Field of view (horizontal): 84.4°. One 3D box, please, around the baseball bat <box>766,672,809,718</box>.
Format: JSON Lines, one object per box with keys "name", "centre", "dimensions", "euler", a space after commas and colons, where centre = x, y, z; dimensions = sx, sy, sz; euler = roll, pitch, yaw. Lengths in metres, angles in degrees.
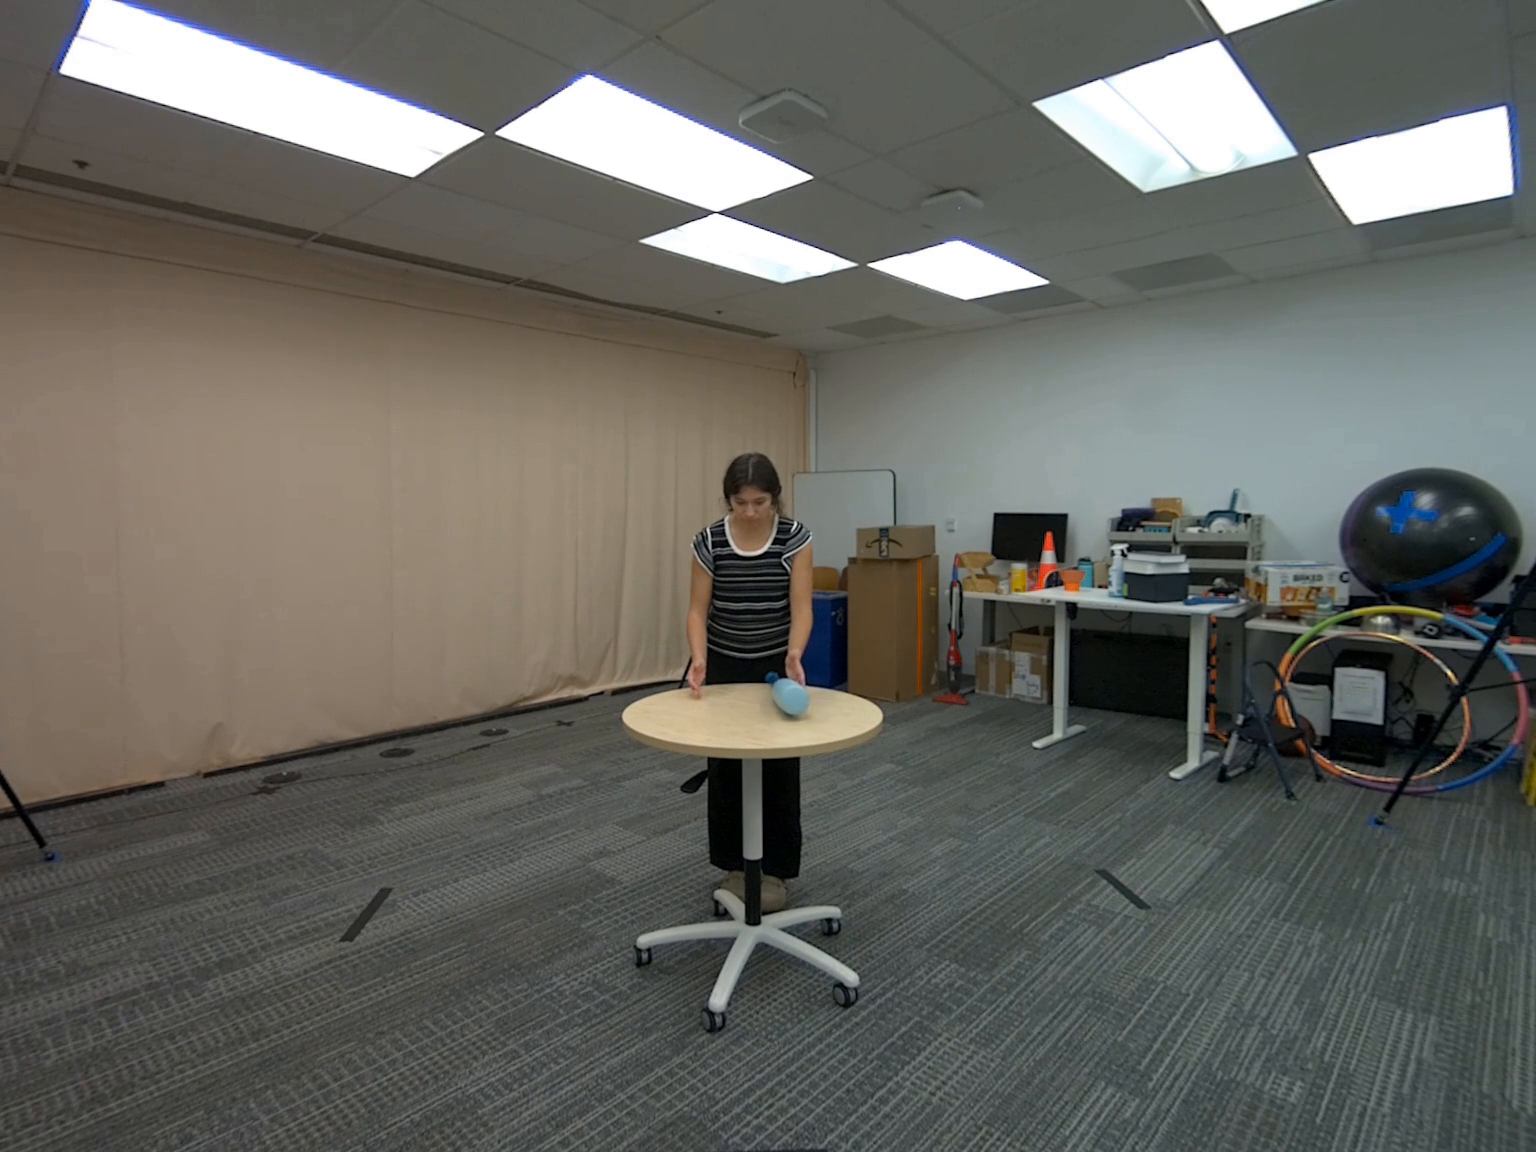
{"name": "baseball bat", "centre": [0.037, 0.356, 2.638], "dimensions": [0.088, 0.089, 0.546], "euler": [0, -1, -8]}
